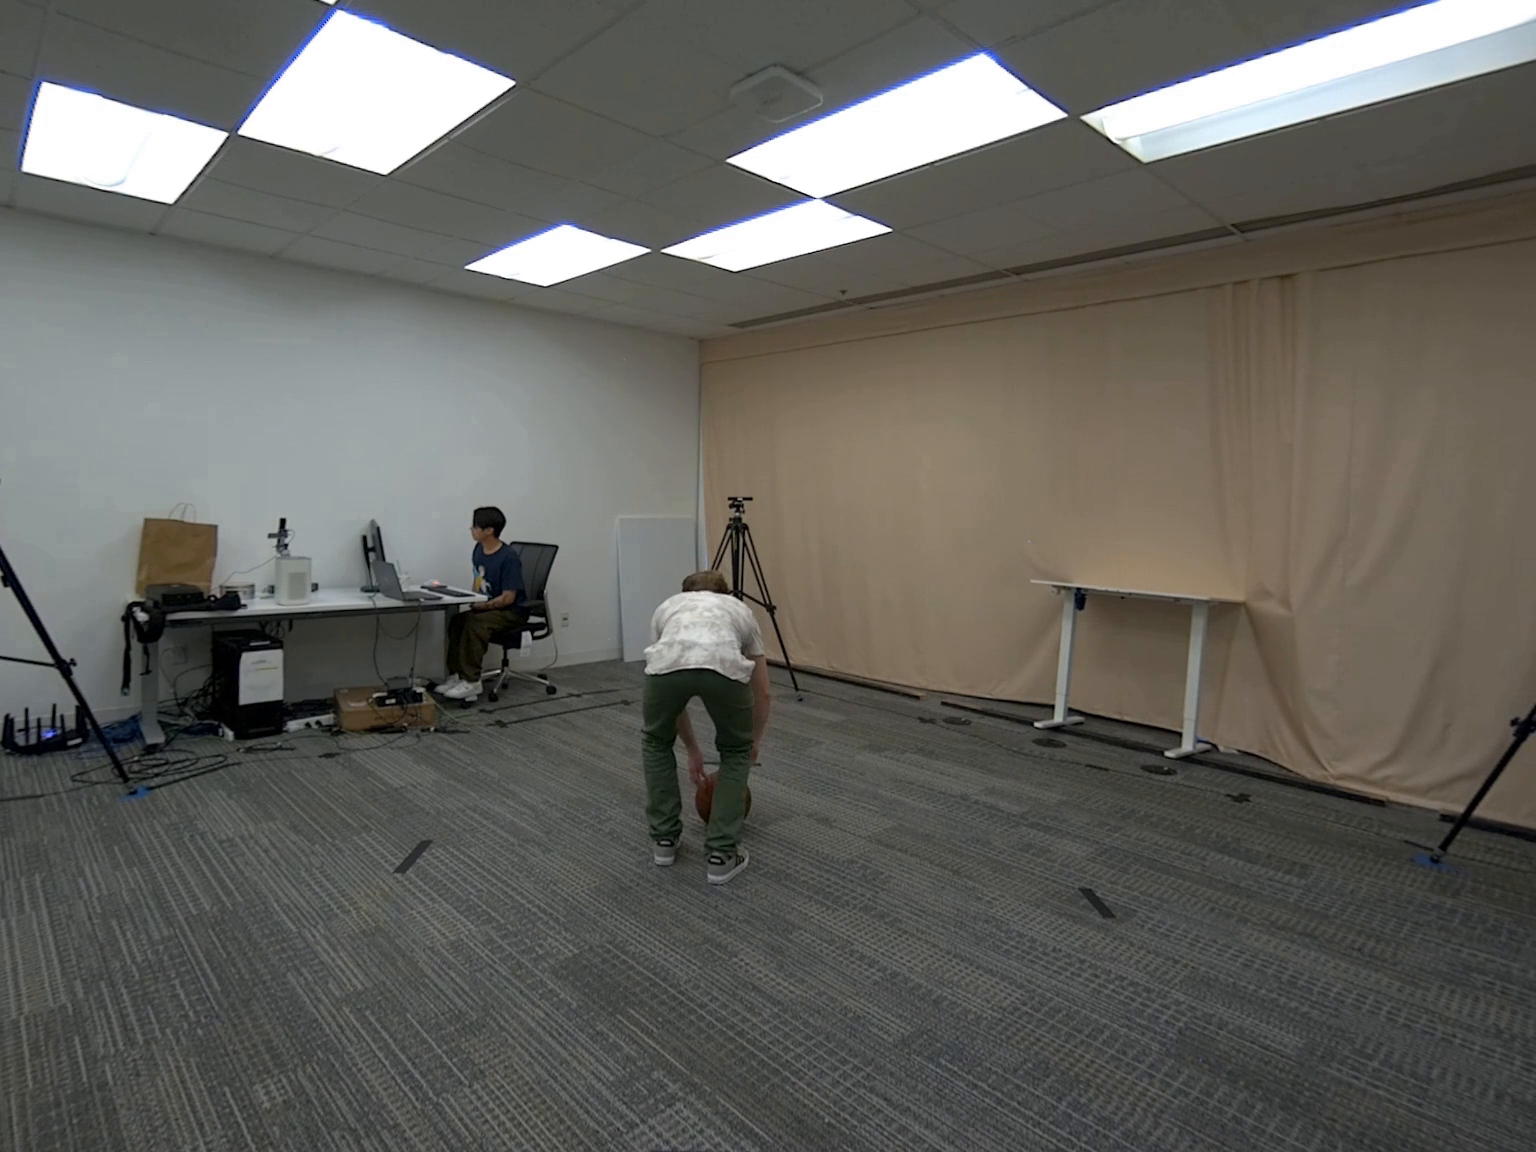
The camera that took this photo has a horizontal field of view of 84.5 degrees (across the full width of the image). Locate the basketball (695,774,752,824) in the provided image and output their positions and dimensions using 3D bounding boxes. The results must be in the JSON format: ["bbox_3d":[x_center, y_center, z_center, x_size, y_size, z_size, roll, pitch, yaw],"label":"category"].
[{"bbox_3d":[-0.191,0.947,3.563,0.236,0.235,0.237,1,4,-1],"label":"basketball"}]
